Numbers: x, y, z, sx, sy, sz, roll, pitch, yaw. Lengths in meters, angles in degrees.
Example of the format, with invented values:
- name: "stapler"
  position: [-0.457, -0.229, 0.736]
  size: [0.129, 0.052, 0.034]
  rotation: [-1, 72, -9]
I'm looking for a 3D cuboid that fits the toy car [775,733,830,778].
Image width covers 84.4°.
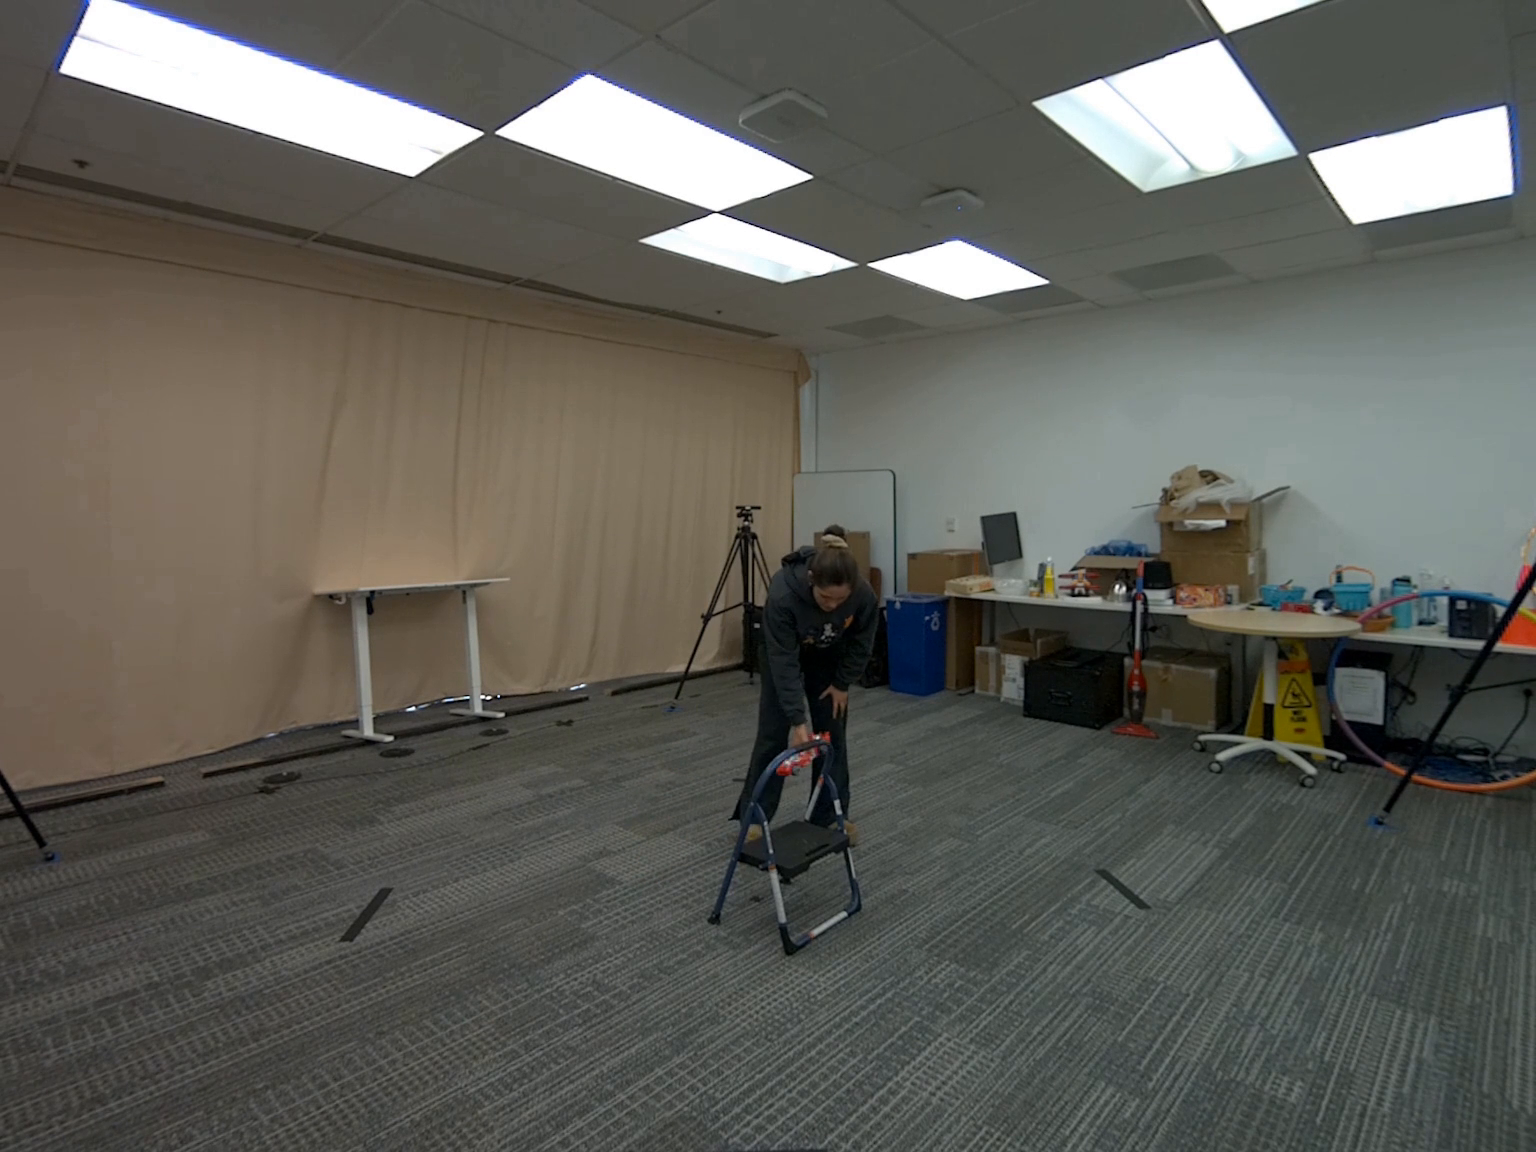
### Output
- name: "toy car"
  position: [0.150, 0.692, 3.273]
  size: [0.252, 0.083, 0.132]
  rotation: [-43, 7, -32]
